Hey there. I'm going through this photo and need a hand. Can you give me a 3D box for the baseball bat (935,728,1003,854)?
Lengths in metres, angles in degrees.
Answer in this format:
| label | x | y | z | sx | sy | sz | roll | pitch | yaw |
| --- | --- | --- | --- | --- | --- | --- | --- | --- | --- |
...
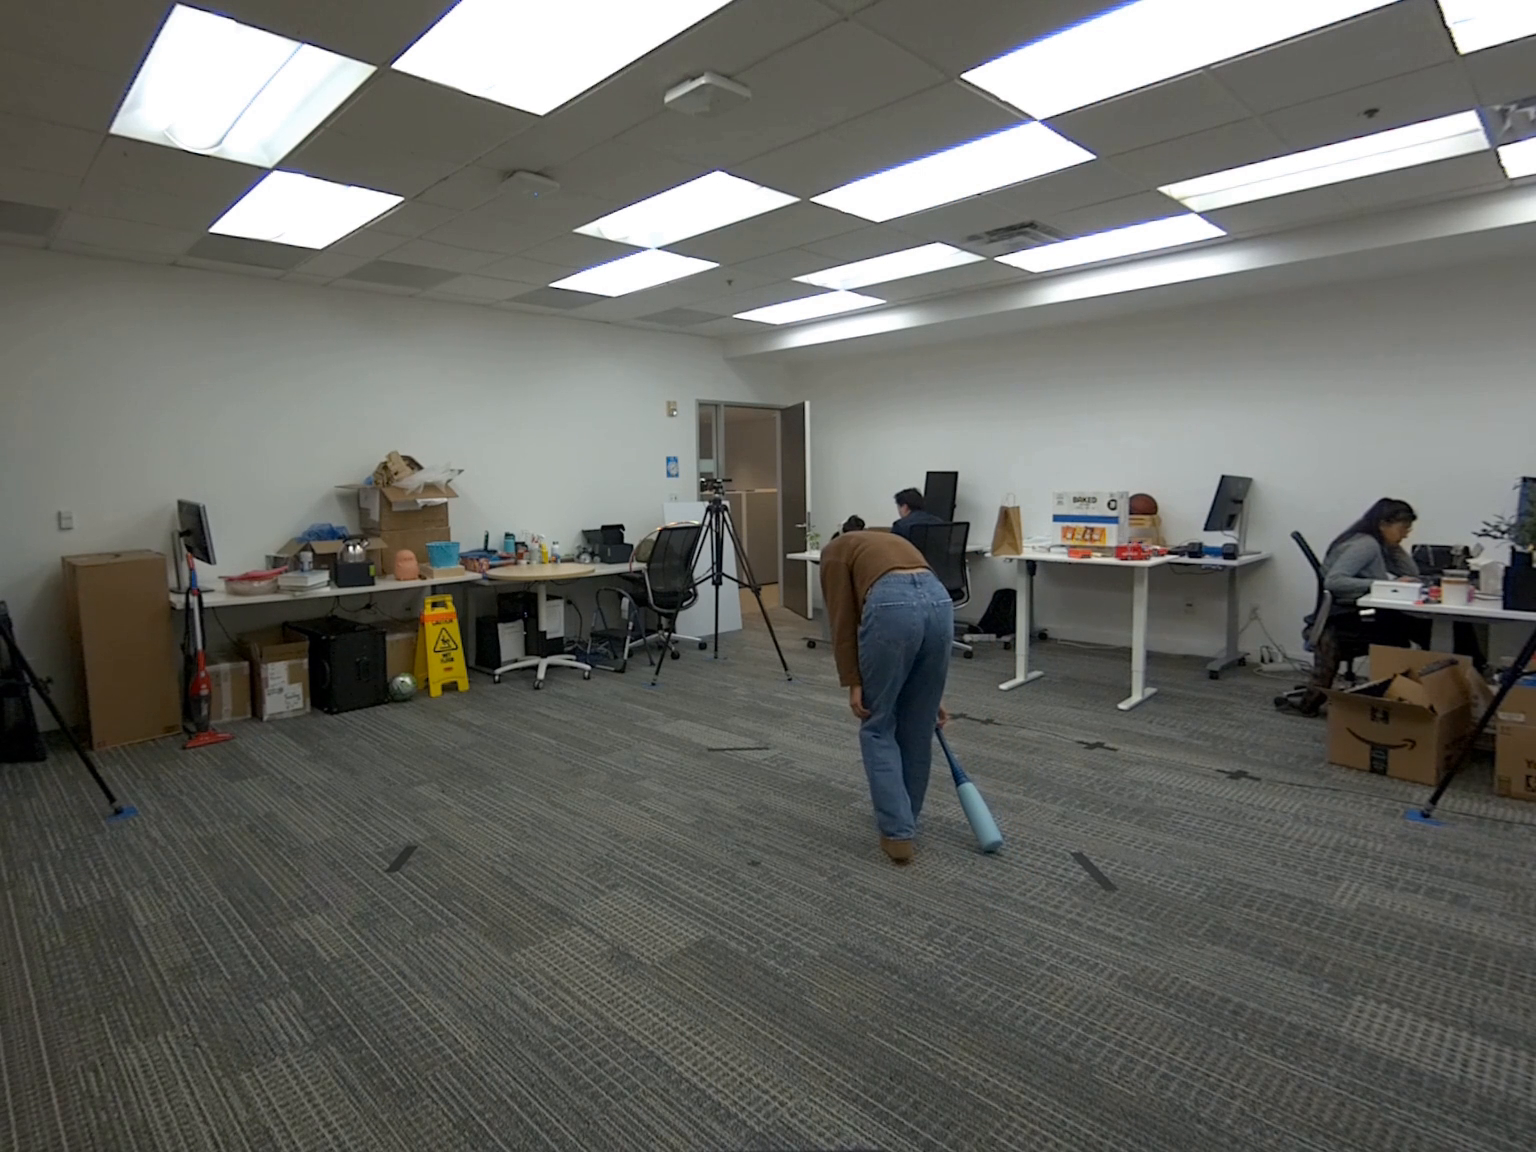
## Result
| label | x | y | z | sx | sy | sz | roll | pitch | yaw |
| --- | --- | --- | --- | --- | --- | --- | --- | --- | --- |
| baseball bat | 0.755 | 0.800 | 3.321 | 0.087 | 0.087 | 0.562 | -3 | 46 | -19 |
